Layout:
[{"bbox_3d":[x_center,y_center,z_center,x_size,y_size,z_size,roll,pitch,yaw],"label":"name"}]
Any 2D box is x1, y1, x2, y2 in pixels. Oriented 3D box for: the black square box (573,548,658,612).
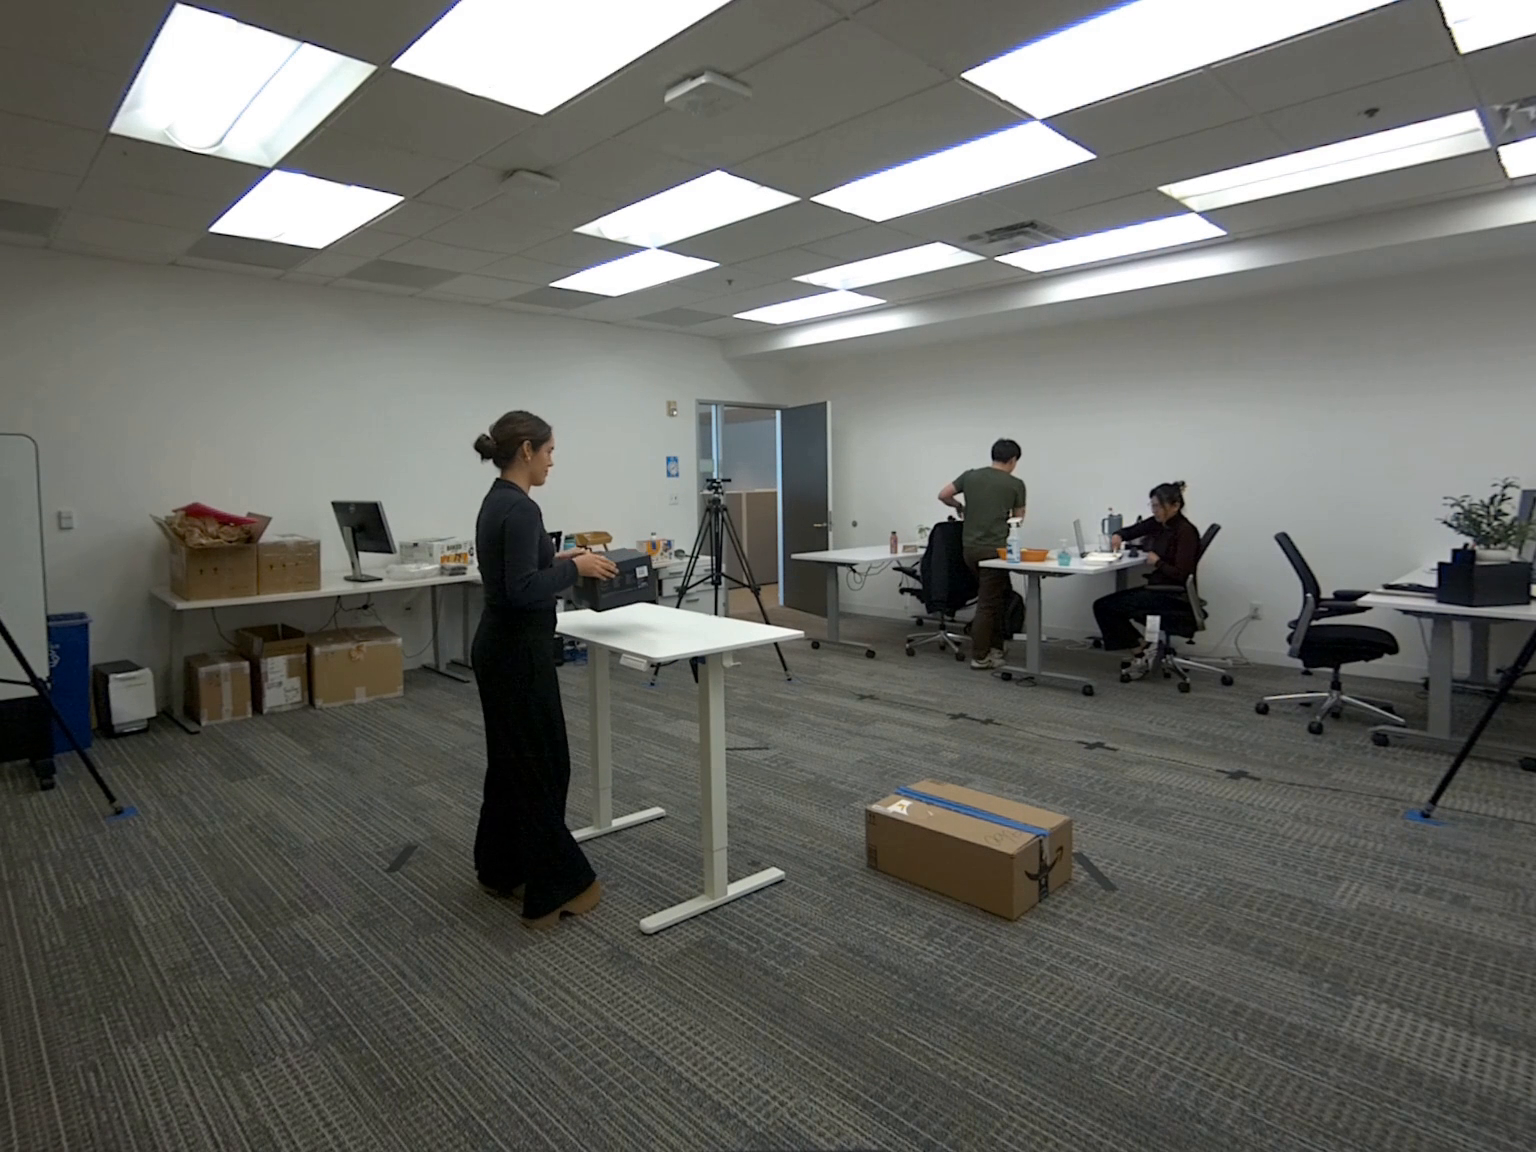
[{"bbox_3d":[-0.539,0.015,2.934,0.213,0.154,0.234,-13,12,-27],"label":"black square box"}]
